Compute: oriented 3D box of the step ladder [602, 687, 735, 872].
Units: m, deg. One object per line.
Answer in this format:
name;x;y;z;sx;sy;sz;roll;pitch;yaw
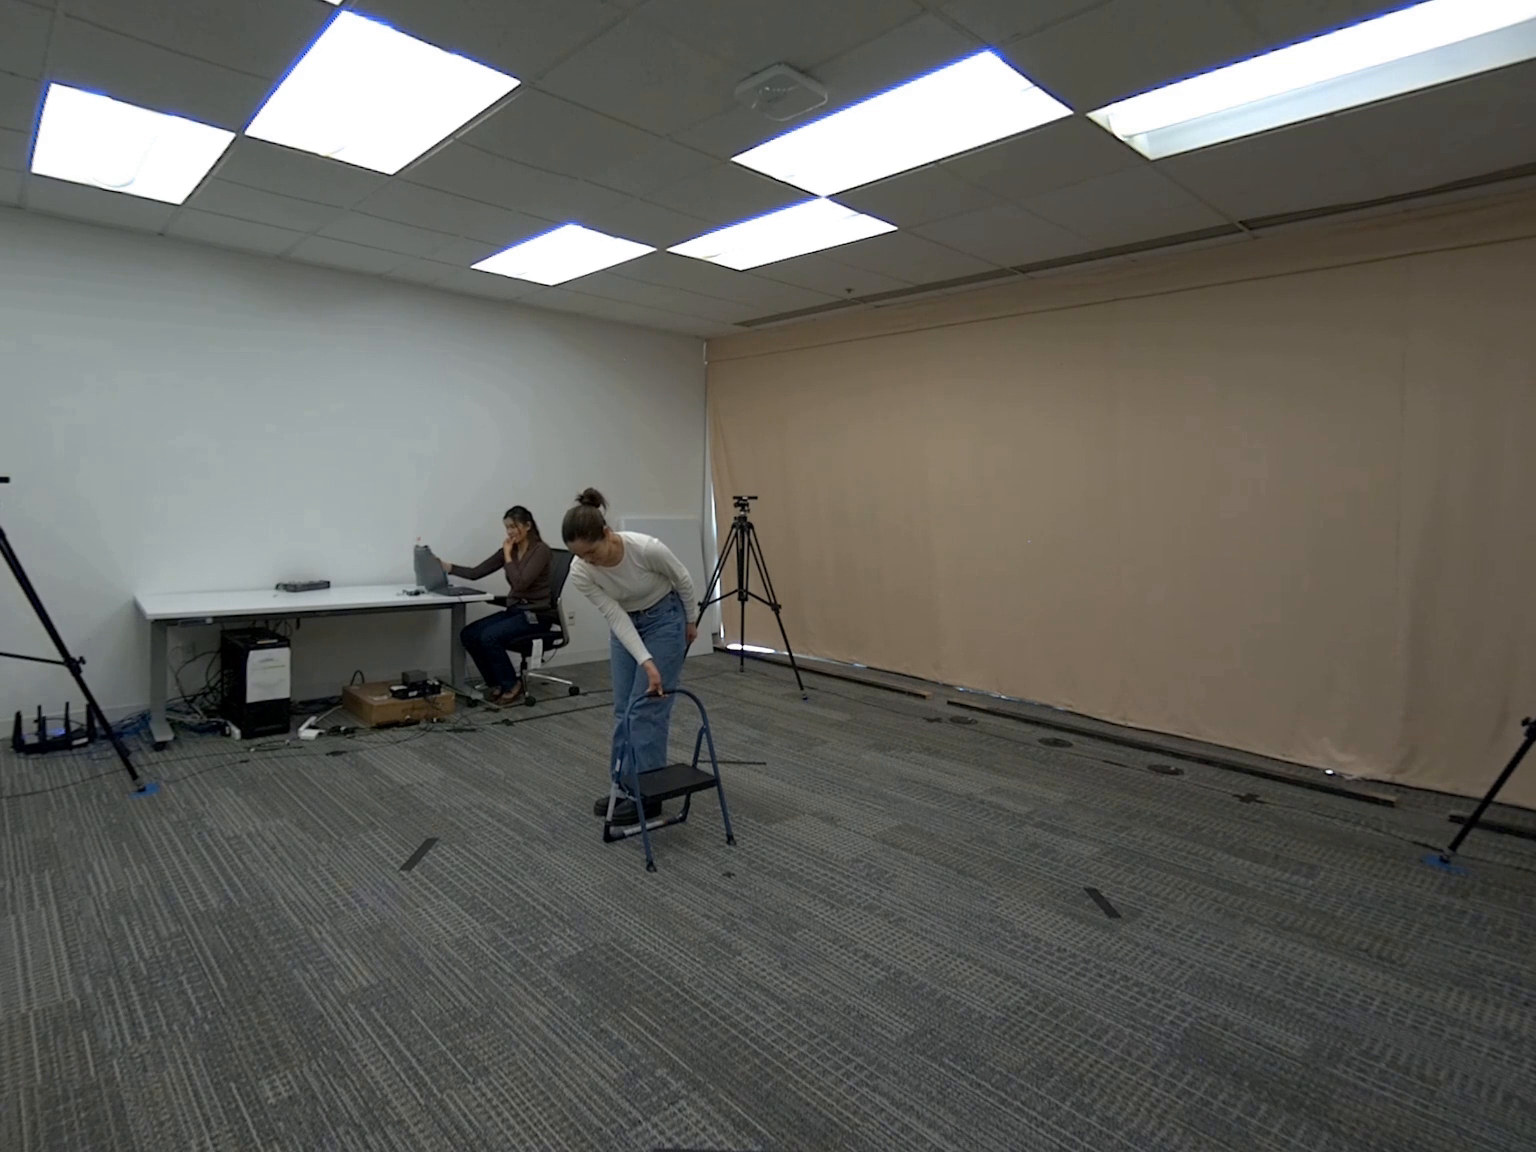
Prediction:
step ladder;-0.395;0.773;3.362;0.421;0.604;0.358;-2;5;-43
